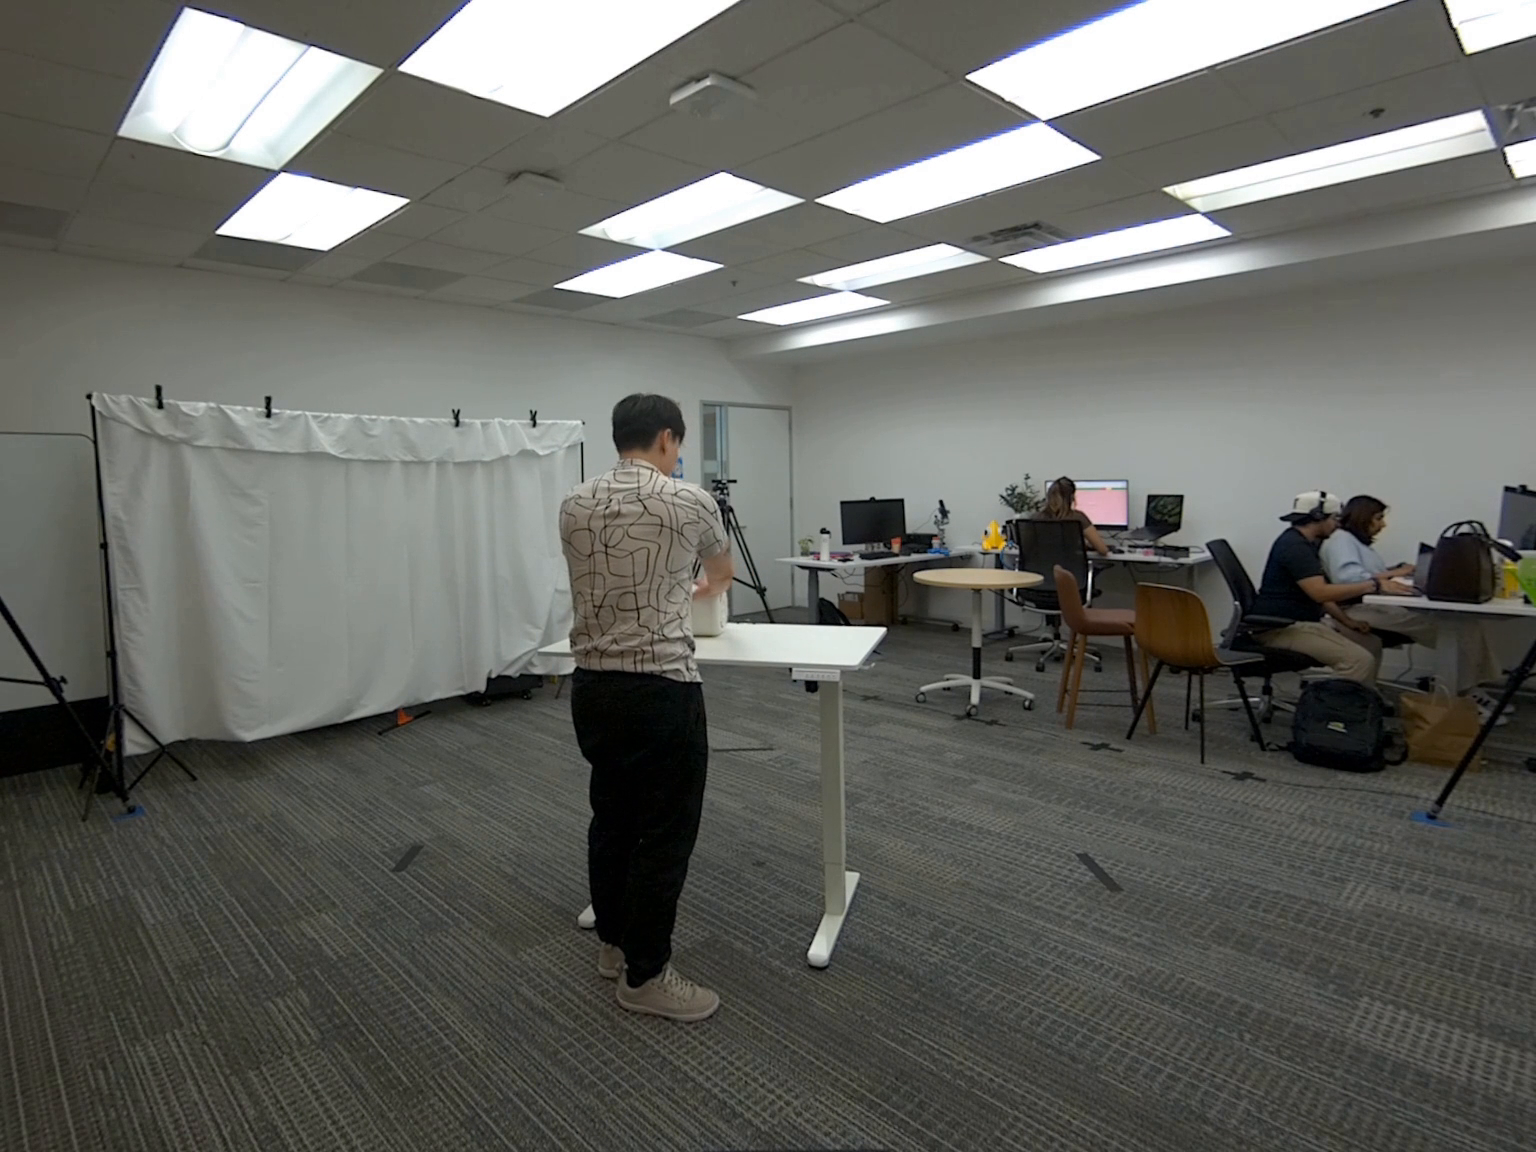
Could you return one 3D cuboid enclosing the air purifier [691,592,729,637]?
[{"bbox_3d":[-0.267,0.109,2.882,0.268,0.170,0.170,2,7,11],"label":"air purifier"}]
